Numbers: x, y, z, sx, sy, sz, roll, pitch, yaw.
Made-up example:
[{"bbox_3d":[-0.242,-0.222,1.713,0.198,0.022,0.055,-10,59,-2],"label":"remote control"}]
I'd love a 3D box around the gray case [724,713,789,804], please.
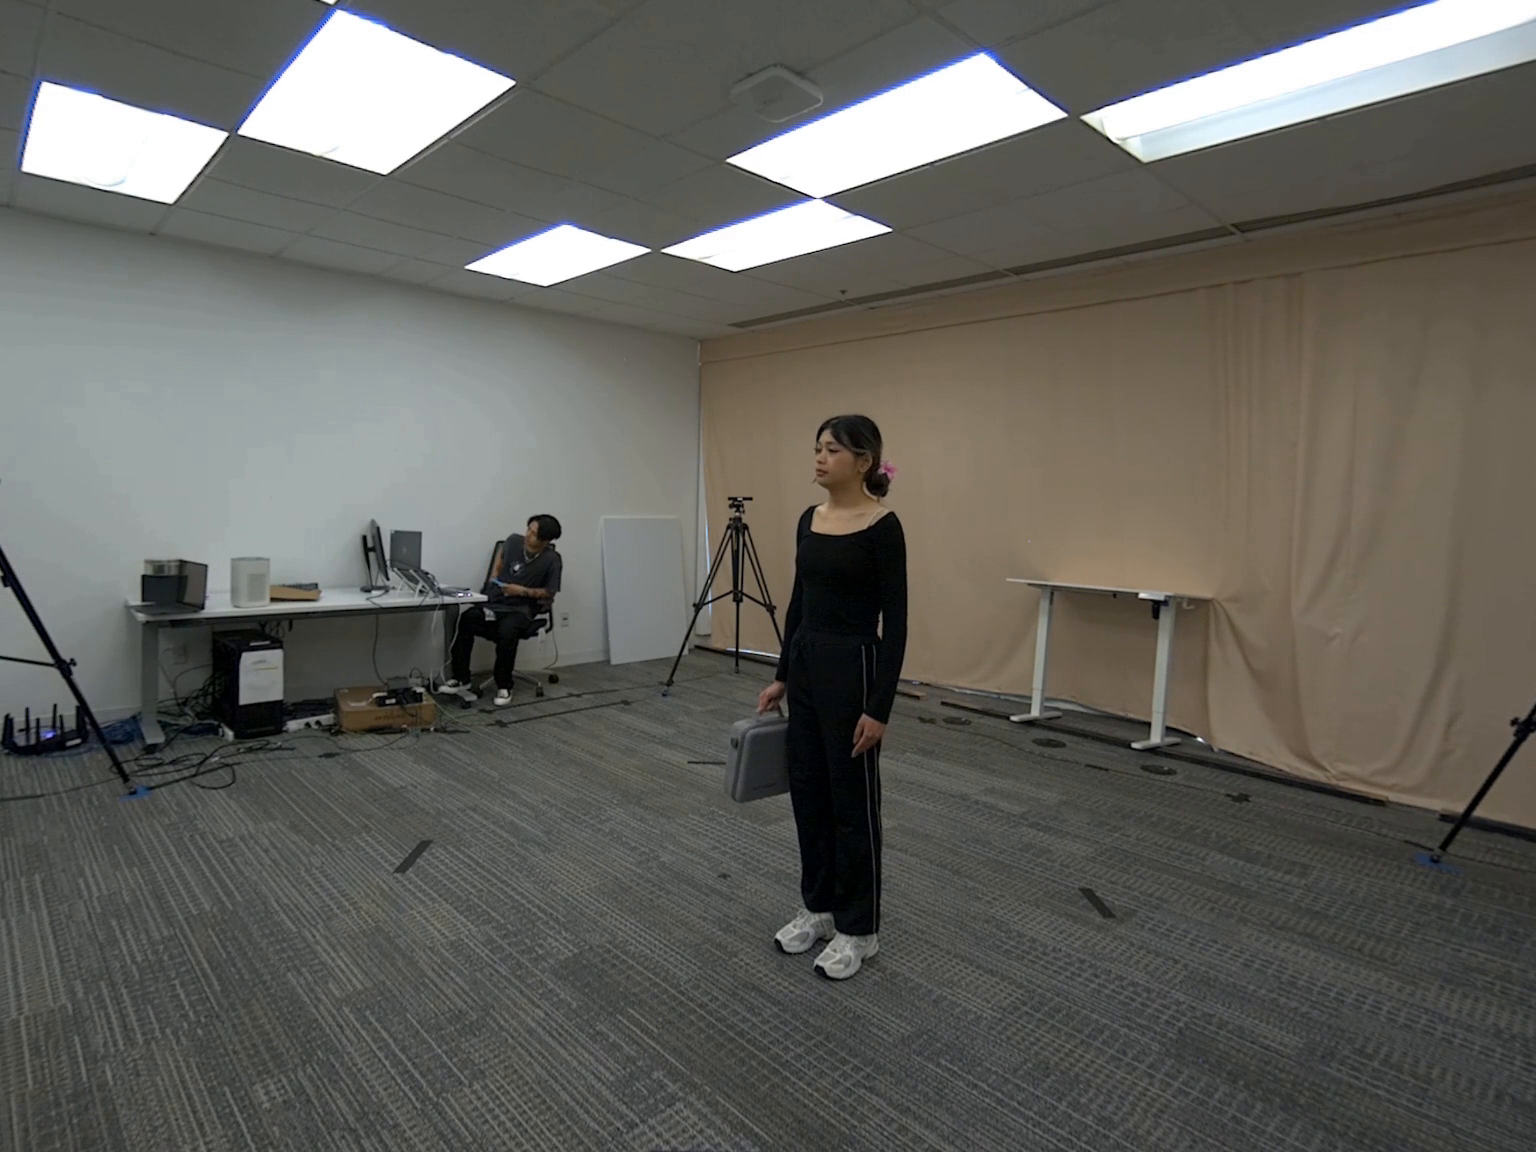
[{"bbox_3d":[-0.013,0.584,2.722,0.251,0.259,0.107,0,9,-39],"label":"gray case"}]
